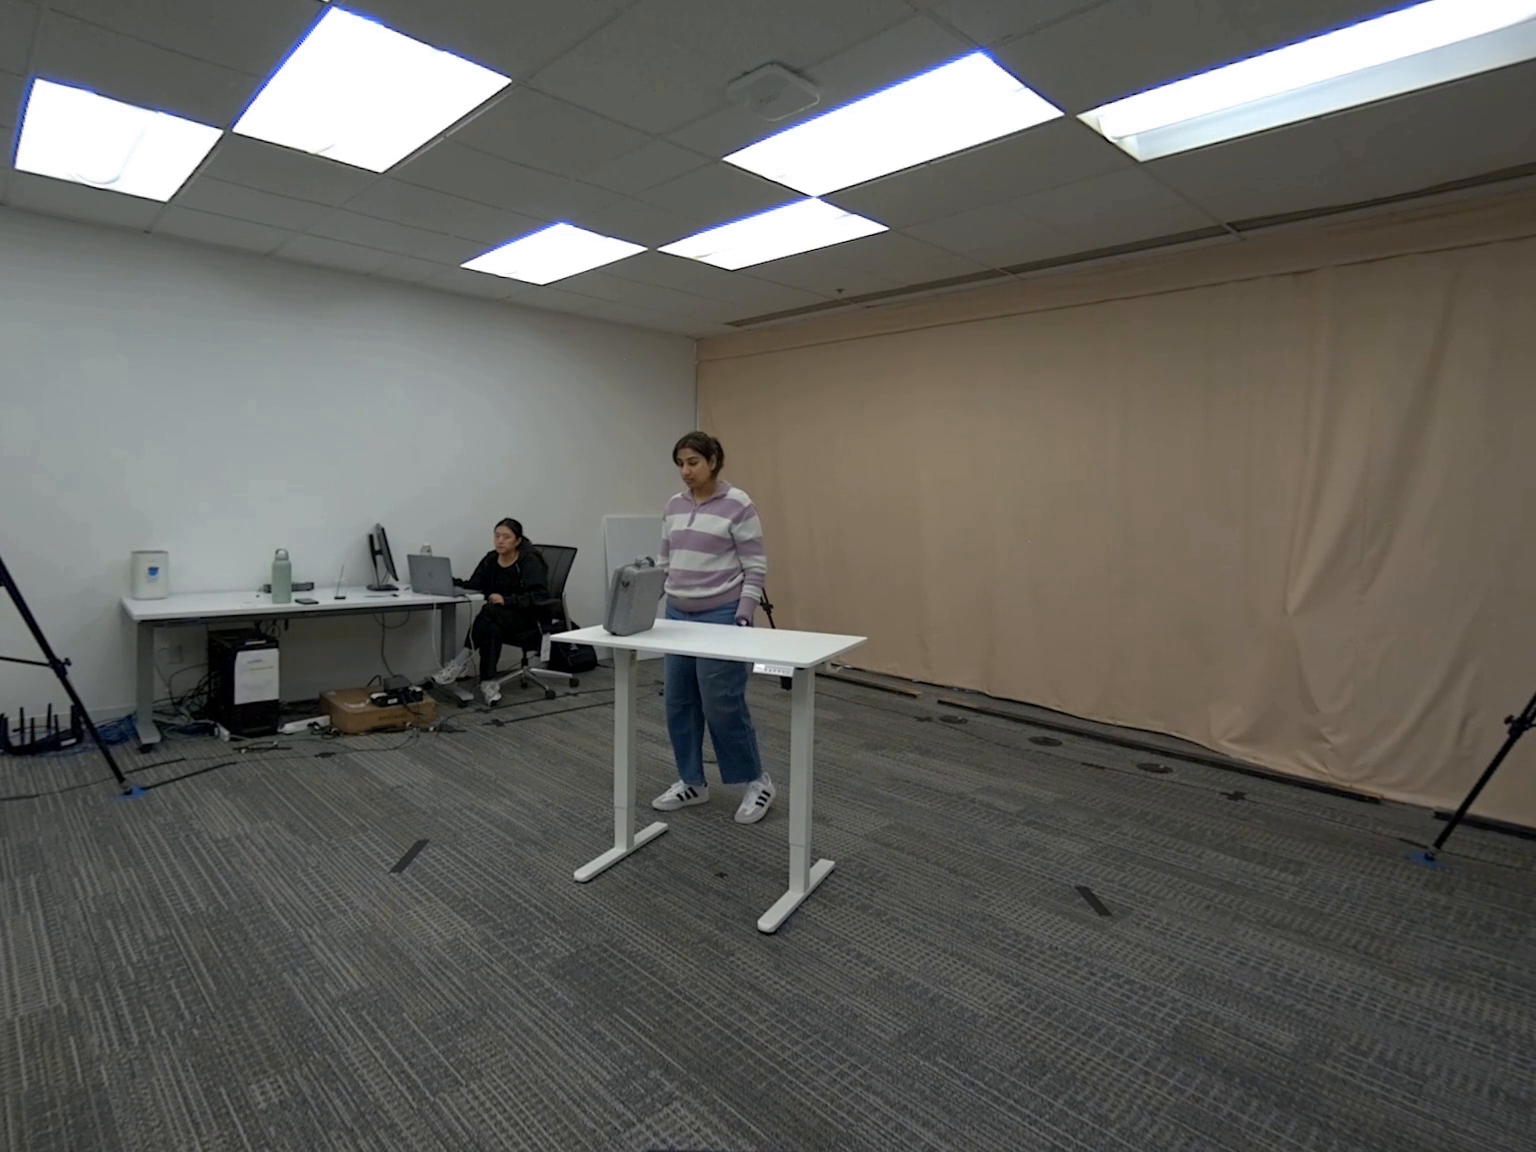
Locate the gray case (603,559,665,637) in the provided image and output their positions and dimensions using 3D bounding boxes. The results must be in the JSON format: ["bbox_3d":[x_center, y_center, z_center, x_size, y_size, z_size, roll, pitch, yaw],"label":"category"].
[{"bbox_3d":[-0.509,0.081,3.140,0.106,0.259,0.254,14,8,16],"label":"gray case"}]
